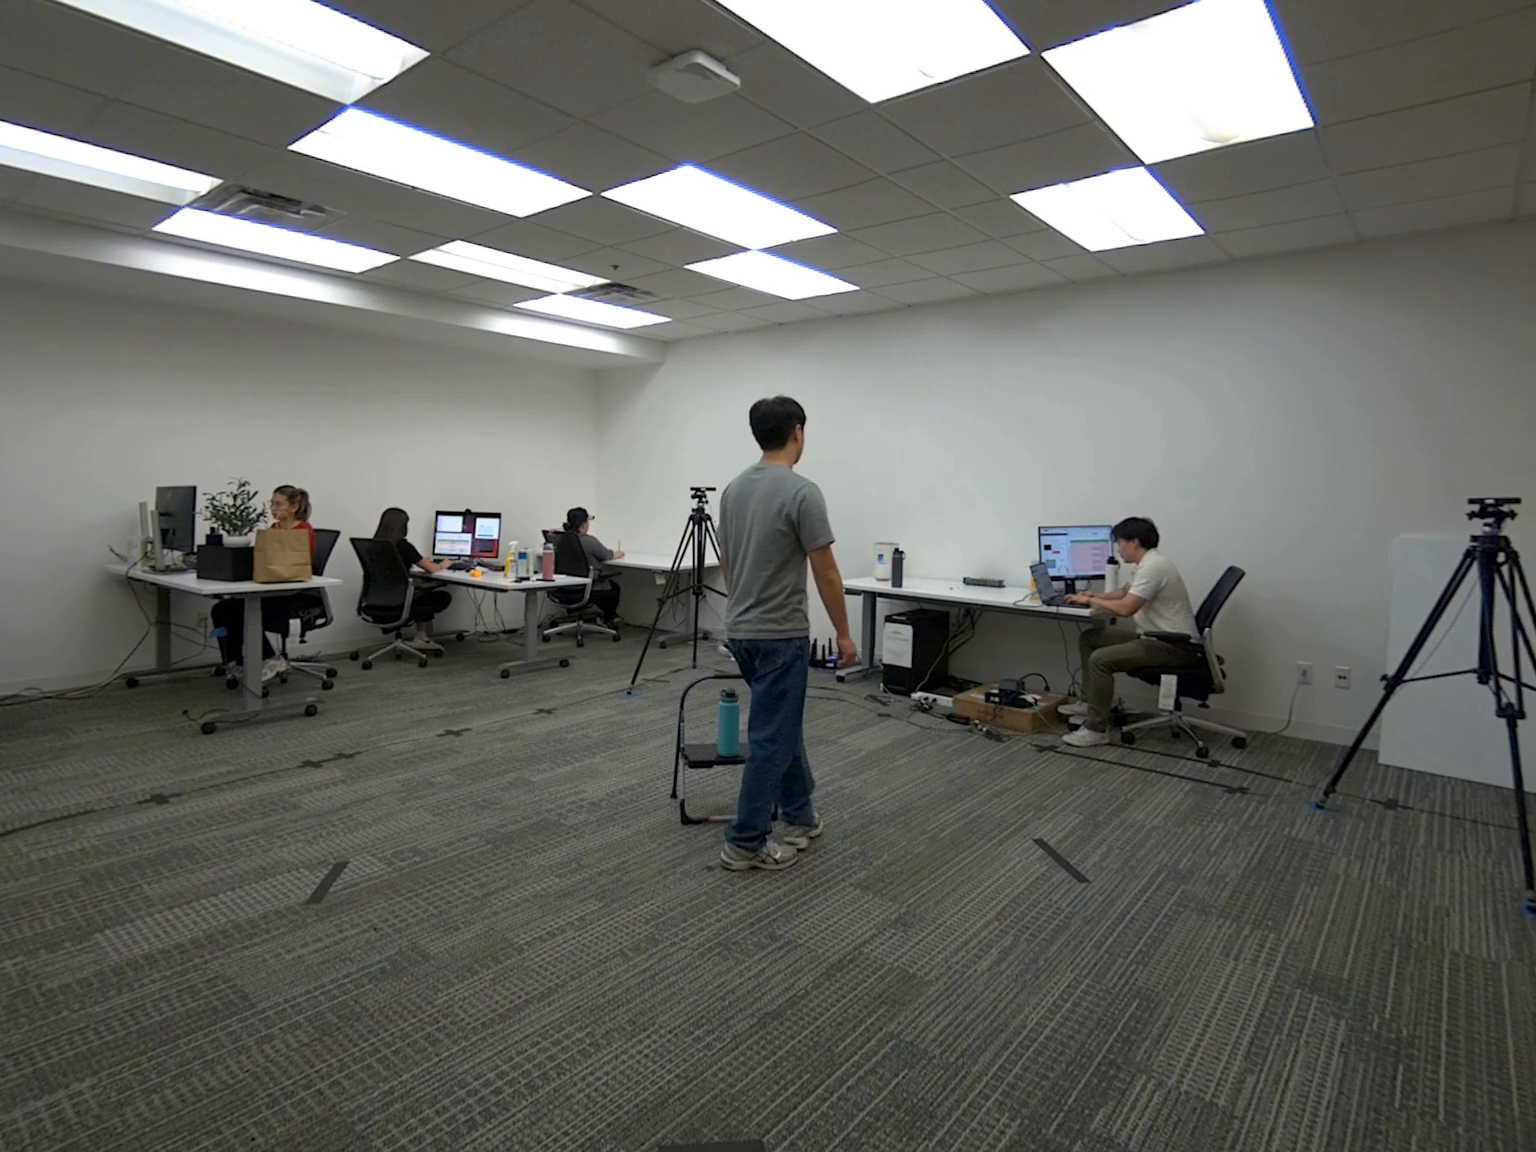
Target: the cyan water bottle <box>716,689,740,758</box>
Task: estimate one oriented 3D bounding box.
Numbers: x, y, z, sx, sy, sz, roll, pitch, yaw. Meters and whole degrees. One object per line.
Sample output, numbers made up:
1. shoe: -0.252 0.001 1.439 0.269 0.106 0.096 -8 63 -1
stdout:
1. cyan water bottle: -0.179 0.615 3.628 0.092 0.282 0.093 -1 3 -2
